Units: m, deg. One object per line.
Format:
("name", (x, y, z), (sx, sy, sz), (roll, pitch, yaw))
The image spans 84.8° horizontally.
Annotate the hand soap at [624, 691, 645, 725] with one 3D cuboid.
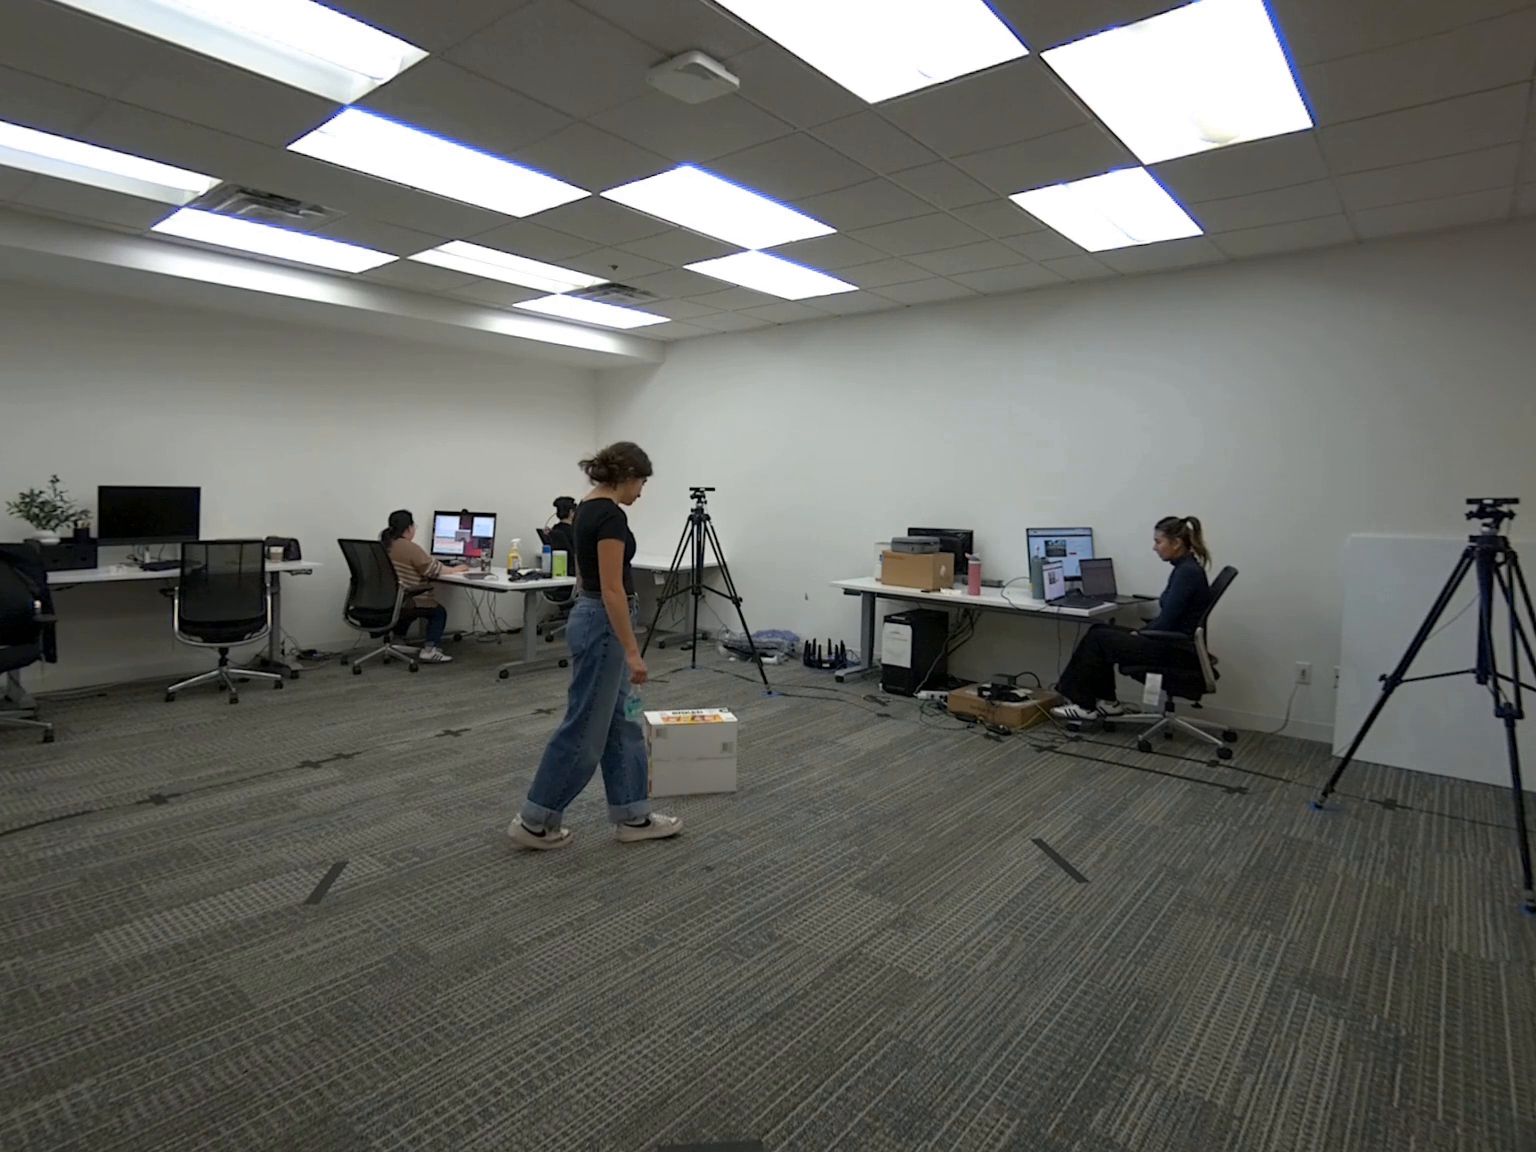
("hand soap", (-0.505, 0.449, 3.118), (0.082, 0.167, 0.045), (-3, 9, -42))
